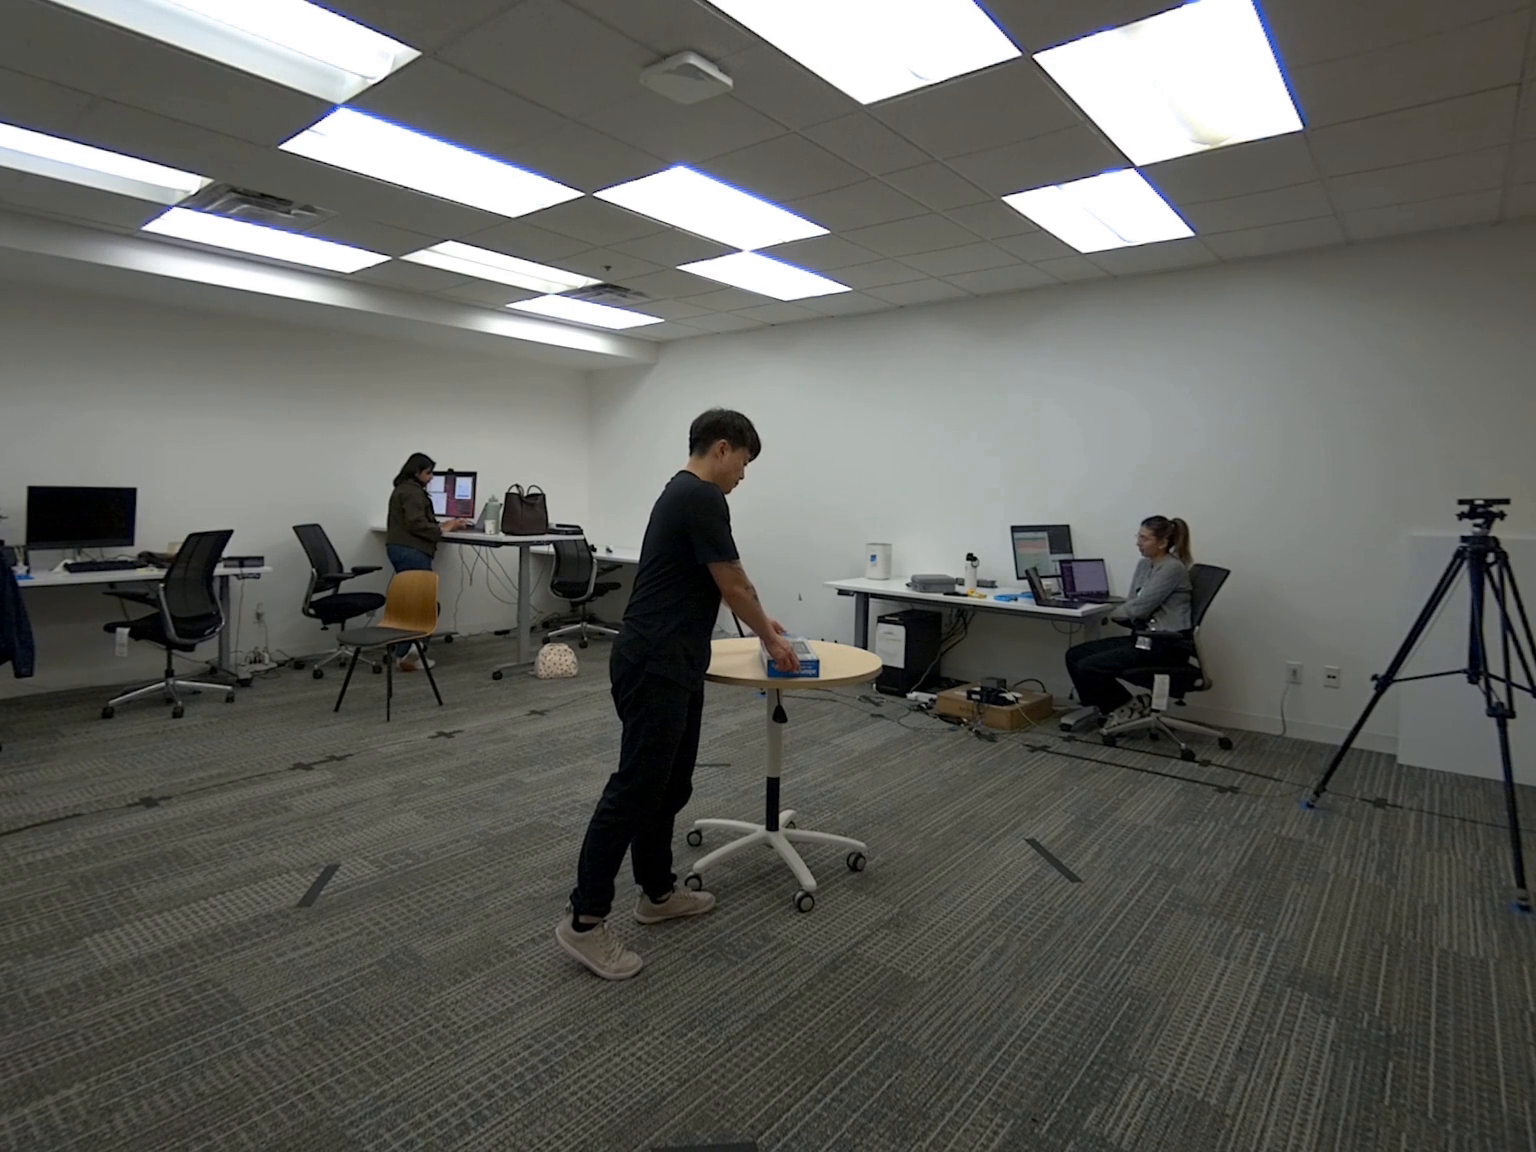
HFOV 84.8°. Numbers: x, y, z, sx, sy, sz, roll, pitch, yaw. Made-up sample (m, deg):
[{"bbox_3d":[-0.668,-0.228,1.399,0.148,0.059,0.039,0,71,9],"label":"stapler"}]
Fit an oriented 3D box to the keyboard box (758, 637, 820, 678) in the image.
[{"bbox_3d":[0.062,0.273,2.989,0.175,0.059,0.441,1,6,-6],"label":"keyboard box"}]
